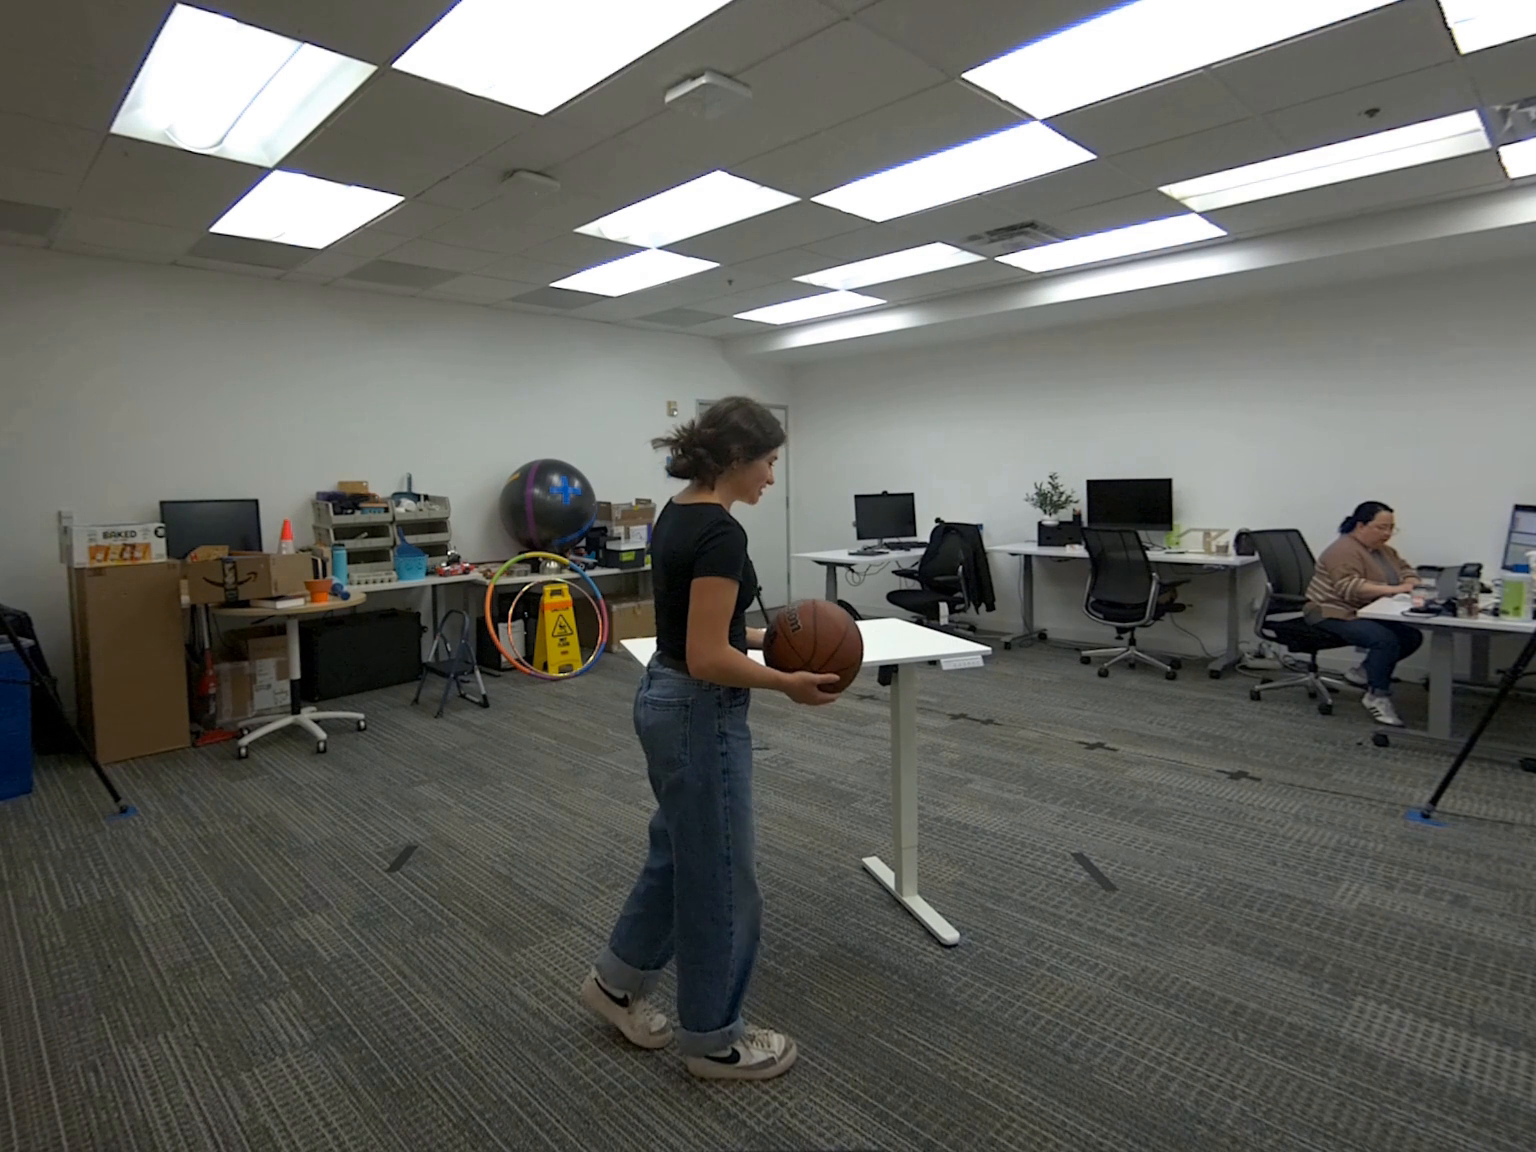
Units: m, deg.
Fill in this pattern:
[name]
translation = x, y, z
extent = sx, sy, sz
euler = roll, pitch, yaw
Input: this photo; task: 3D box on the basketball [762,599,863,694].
[basketball]
translation = 0.109, 0.169, 2.029
extent = 0.236, 0.235, 0.237
euler = -1, 5, -2
